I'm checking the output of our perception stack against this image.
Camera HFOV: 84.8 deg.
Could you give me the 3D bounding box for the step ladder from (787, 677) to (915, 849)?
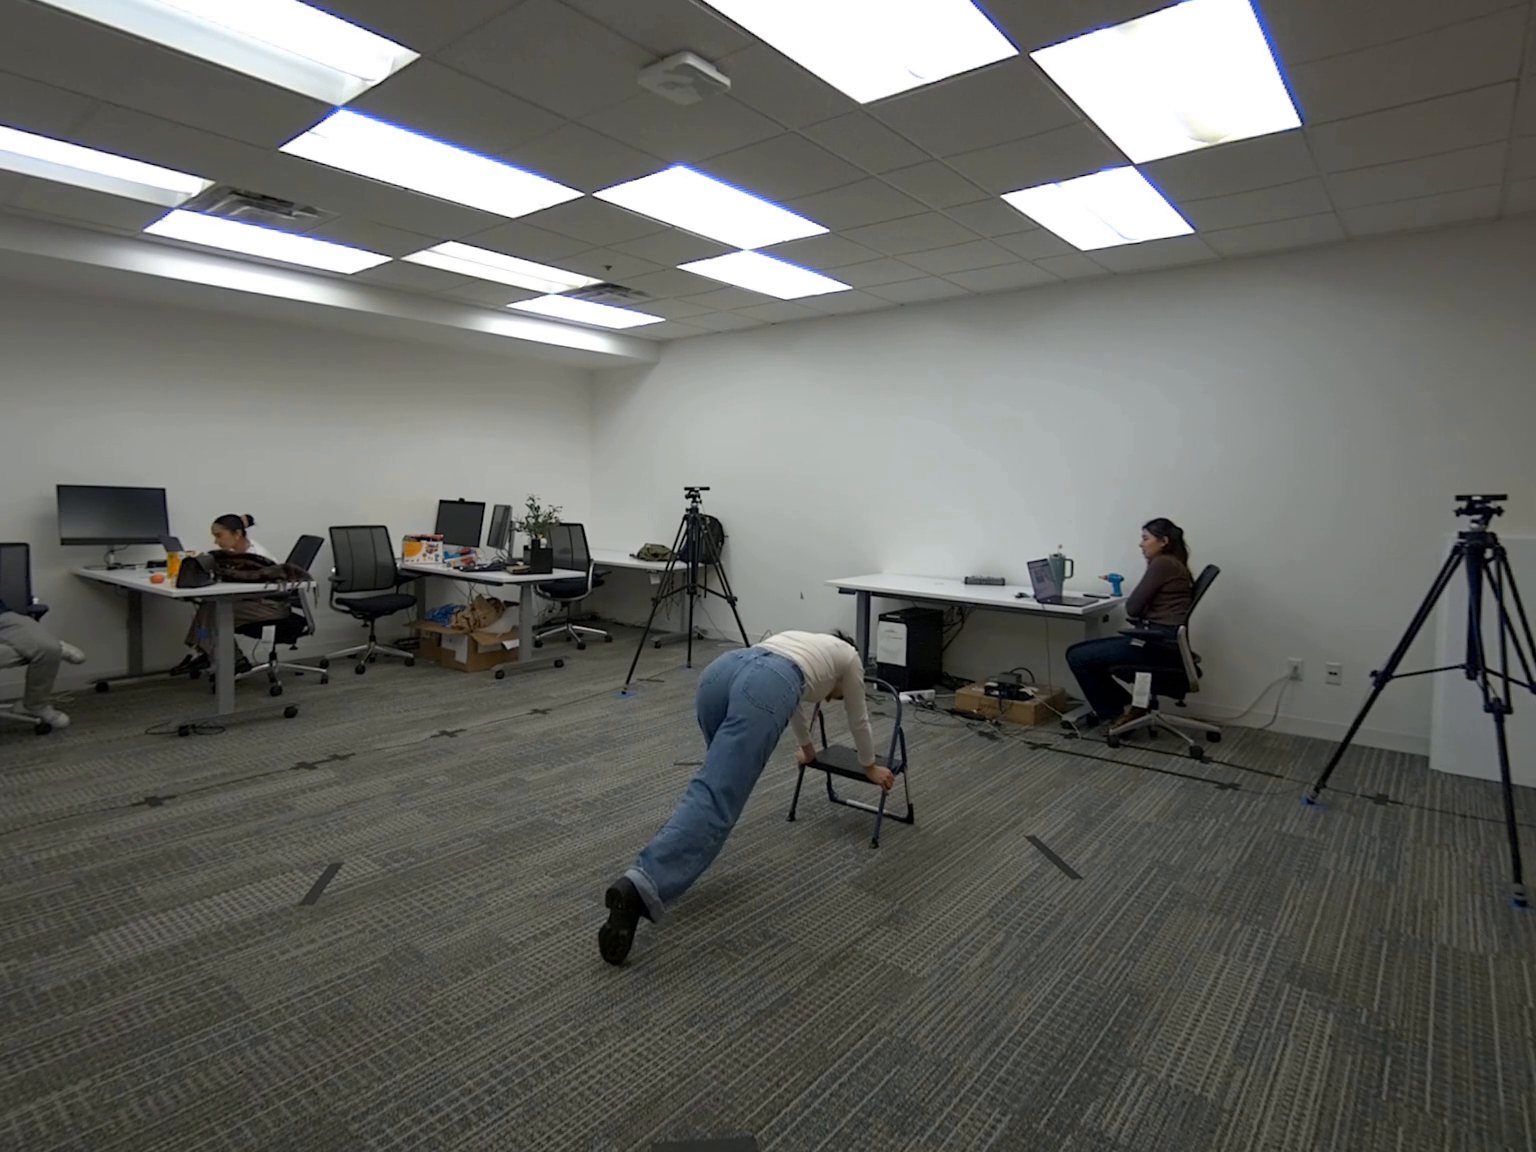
[{"bbox_3d":[0.352,0.730,3.562,0.445,0.604,0.339,4,4,38],"label":"step ladder"}]
